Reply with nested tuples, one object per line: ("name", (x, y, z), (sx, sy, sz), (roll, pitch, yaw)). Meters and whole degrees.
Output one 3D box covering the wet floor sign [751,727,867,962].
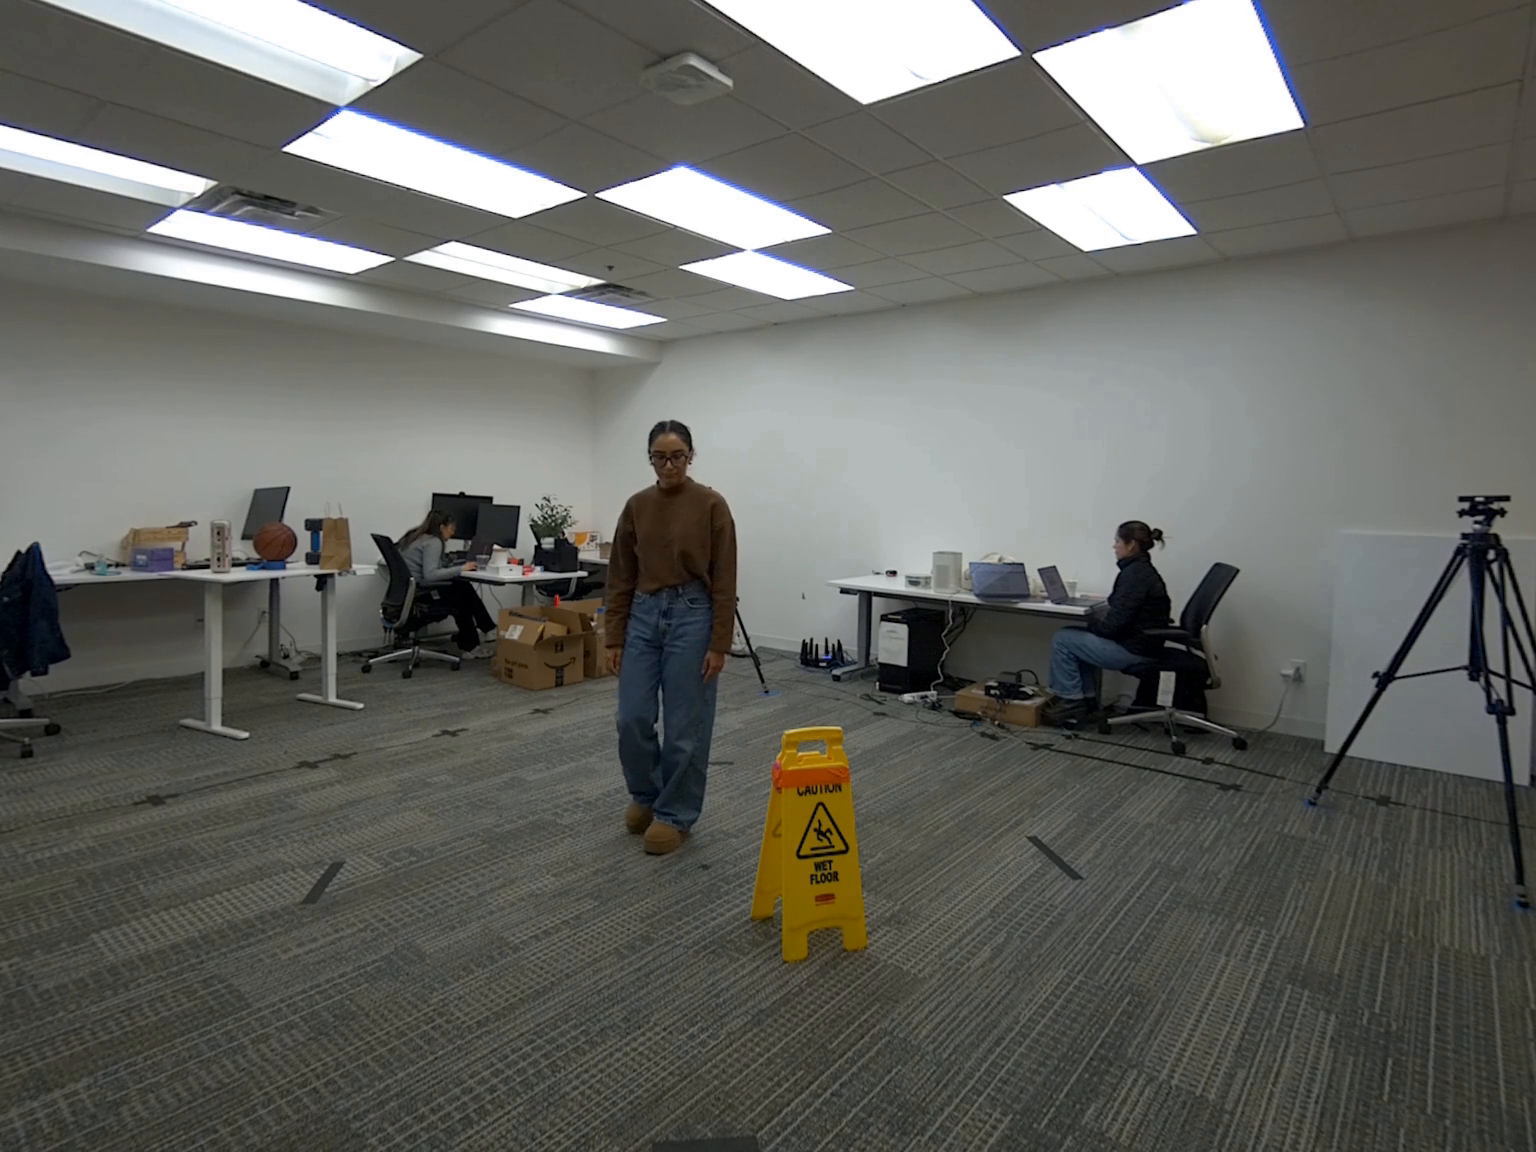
("wet floor sign", (0.122, 0.792, 2.650), (0.276, 0.644, 0.297), (-1, 4, -21))
